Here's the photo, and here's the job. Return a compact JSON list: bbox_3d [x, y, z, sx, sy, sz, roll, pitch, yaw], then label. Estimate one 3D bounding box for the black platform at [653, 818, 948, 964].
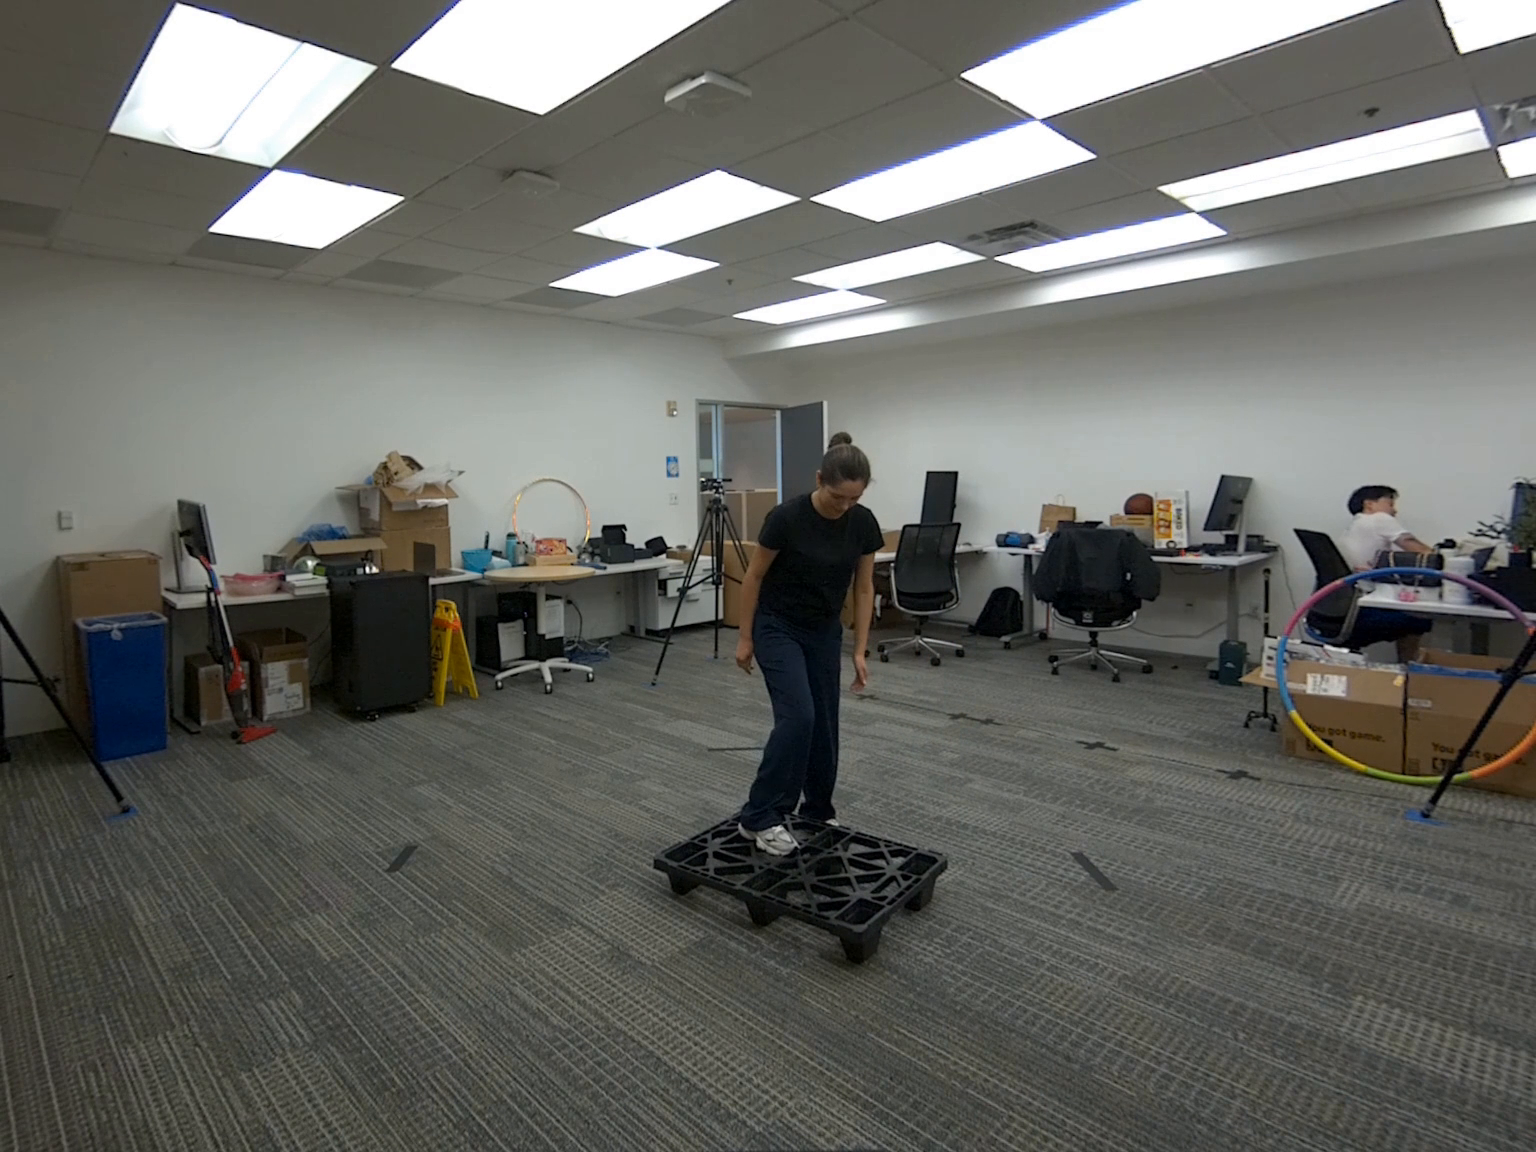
[{"bbox_3d":[0.105,1.001,2.874,0.829,0.143,0.590,4,8,37],"label":"black platform"}]
